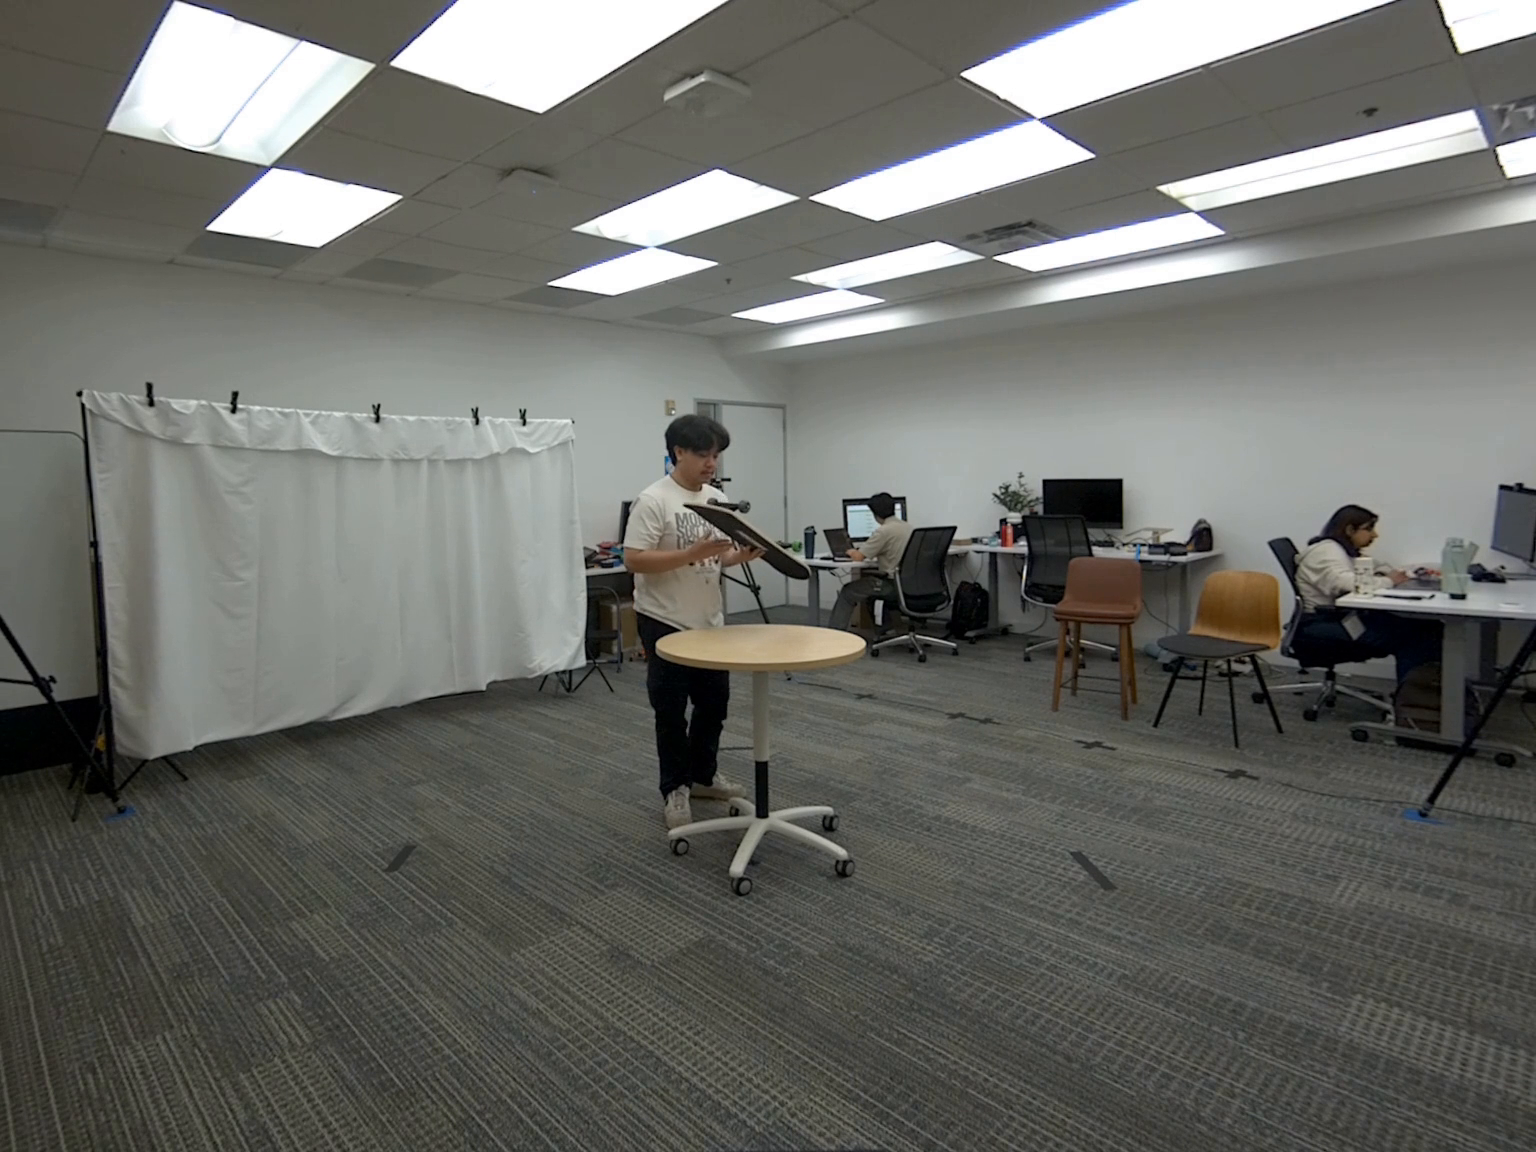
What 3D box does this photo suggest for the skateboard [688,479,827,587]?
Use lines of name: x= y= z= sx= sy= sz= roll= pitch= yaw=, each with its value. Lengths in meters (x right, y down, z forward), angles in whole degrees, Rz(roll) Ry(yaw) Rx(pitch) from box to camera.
skateboard: x=-0.055 y=-0.162 z=3.347 sx=0.200 sy=0.111 sz=0.755 roll=9 pitch=-16 yaw=37
